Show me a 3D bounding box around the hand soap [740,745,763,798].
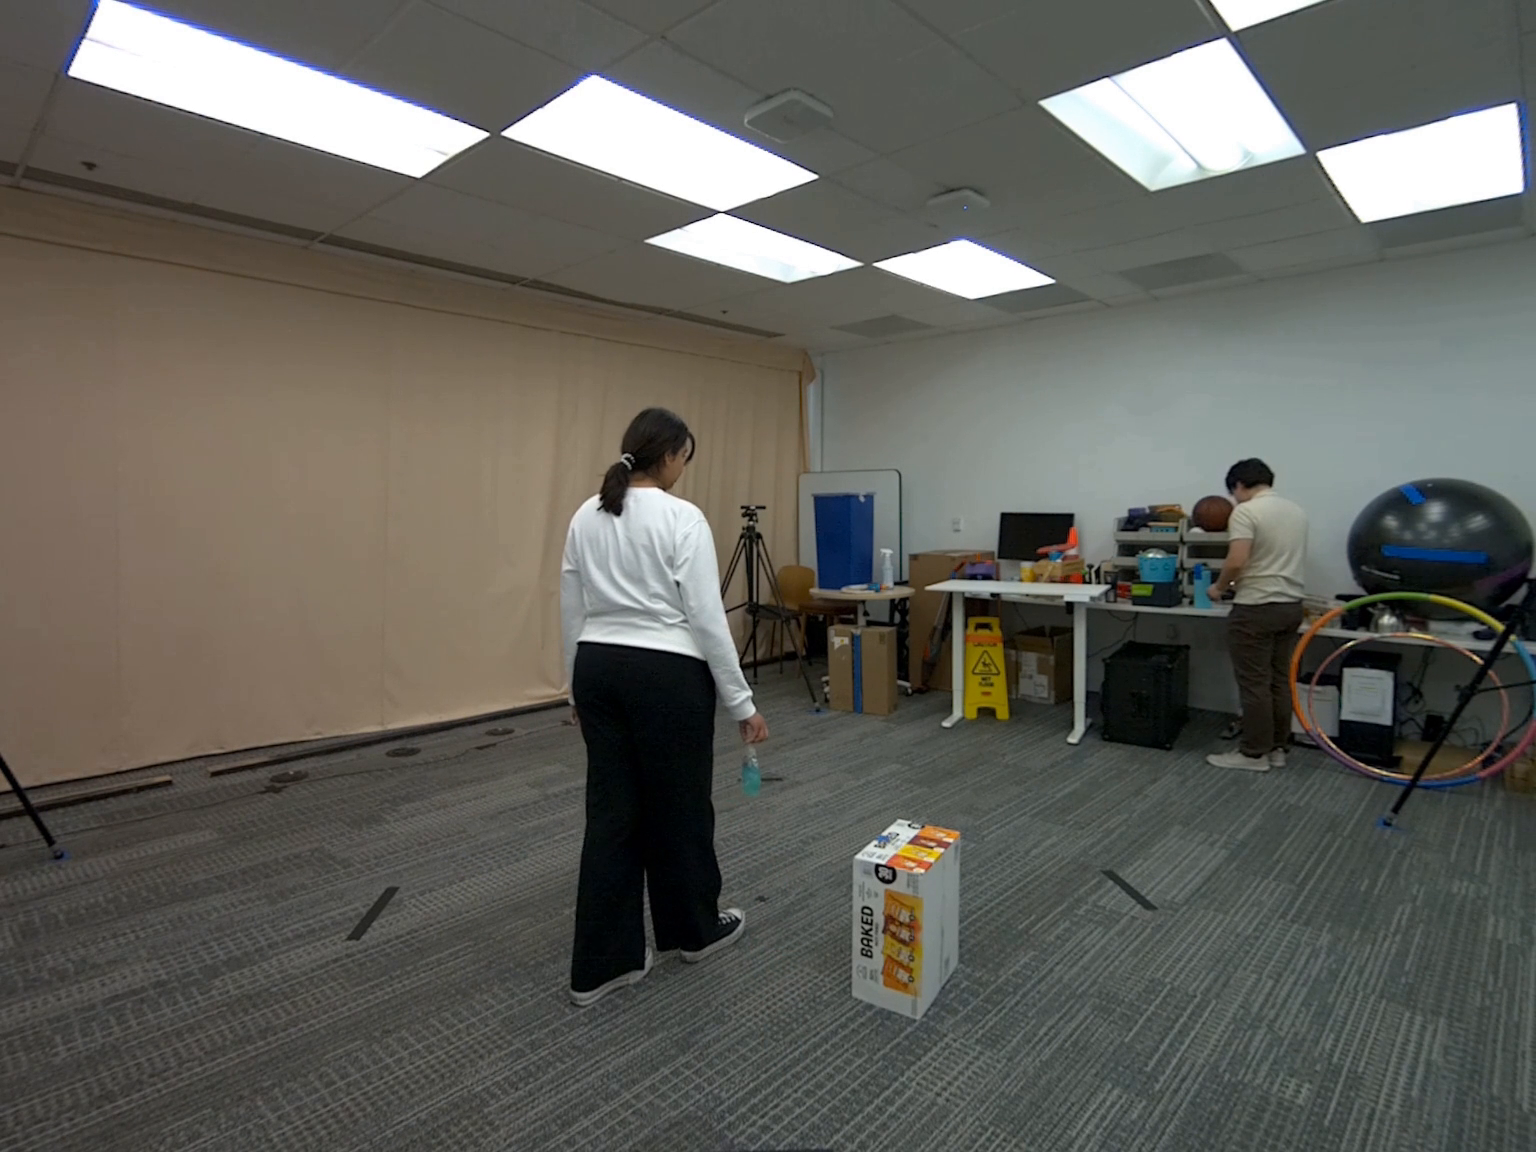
[{"bbox_3d":[-0.051,0.545,2.443,0.042,0.167,0.087,-5,9,-22],"label":"hand soap"}]
